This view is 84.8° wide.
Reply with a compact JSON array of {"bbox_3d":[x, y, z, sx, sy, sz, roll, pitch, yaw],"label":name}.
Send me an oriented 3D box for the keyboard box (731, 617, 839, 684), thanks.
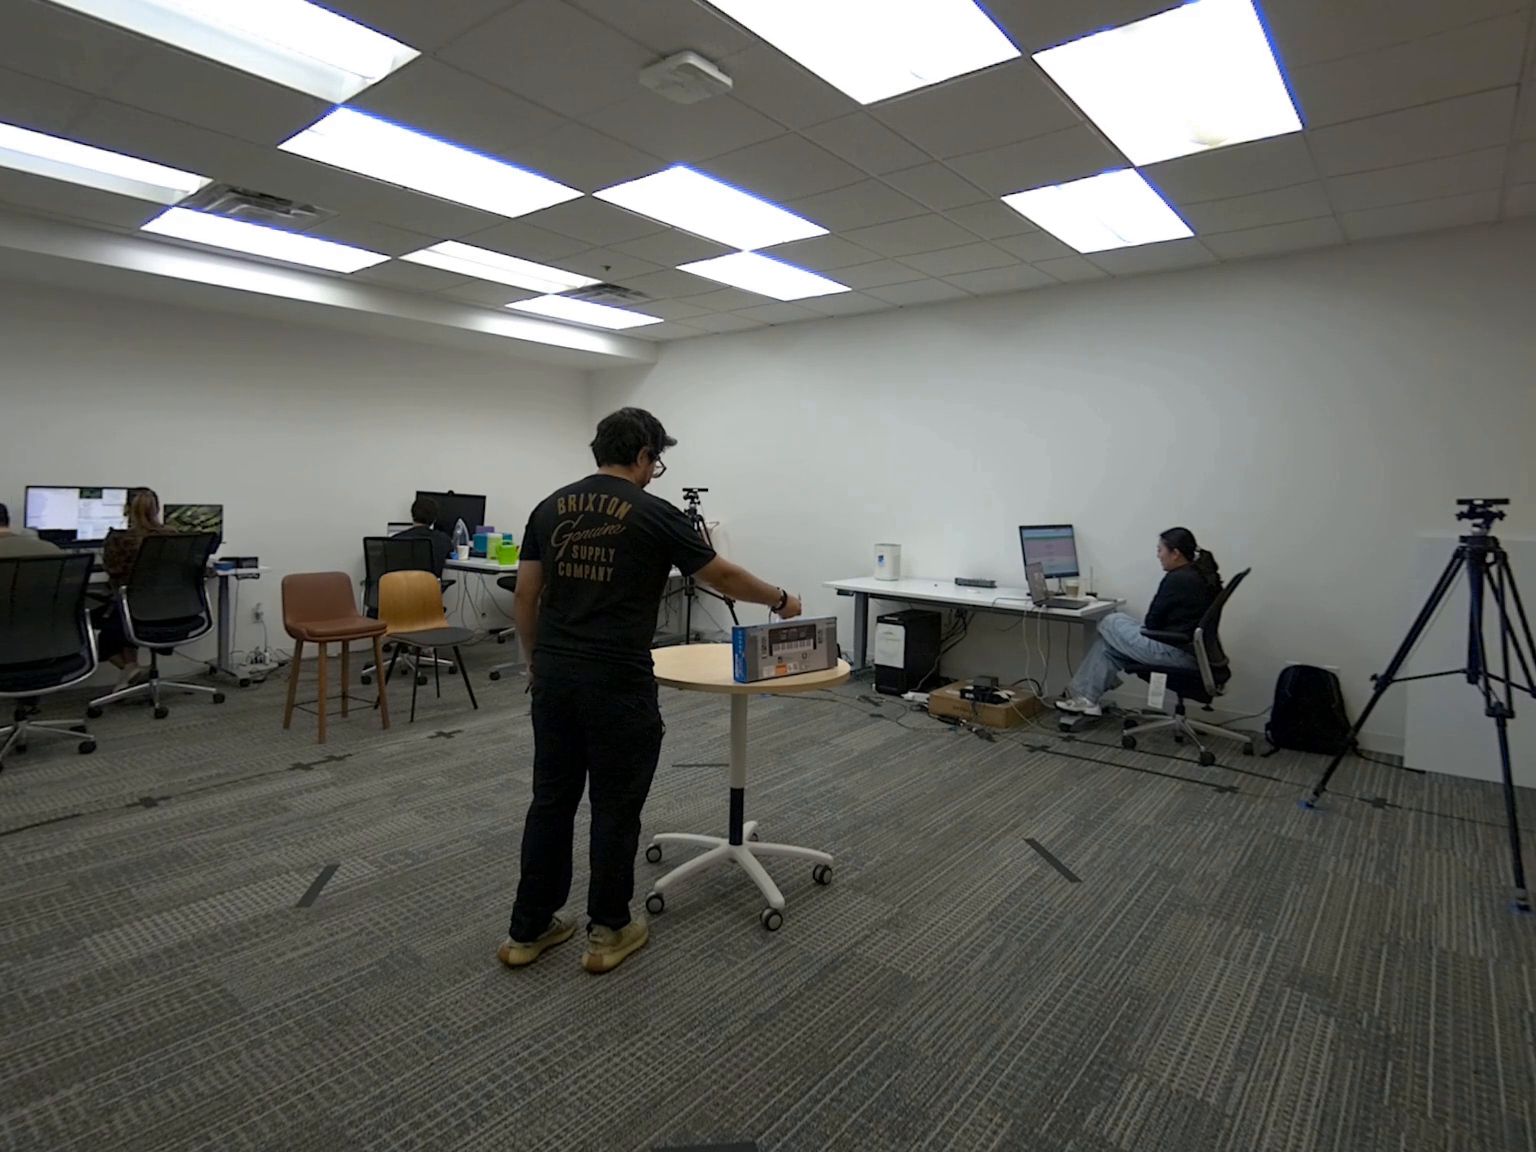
[{"bbox_3d":[0.056,0.234,2.786,0.423,0.176,0.061,-3,1,-43],"label":"keyboard box"}]
